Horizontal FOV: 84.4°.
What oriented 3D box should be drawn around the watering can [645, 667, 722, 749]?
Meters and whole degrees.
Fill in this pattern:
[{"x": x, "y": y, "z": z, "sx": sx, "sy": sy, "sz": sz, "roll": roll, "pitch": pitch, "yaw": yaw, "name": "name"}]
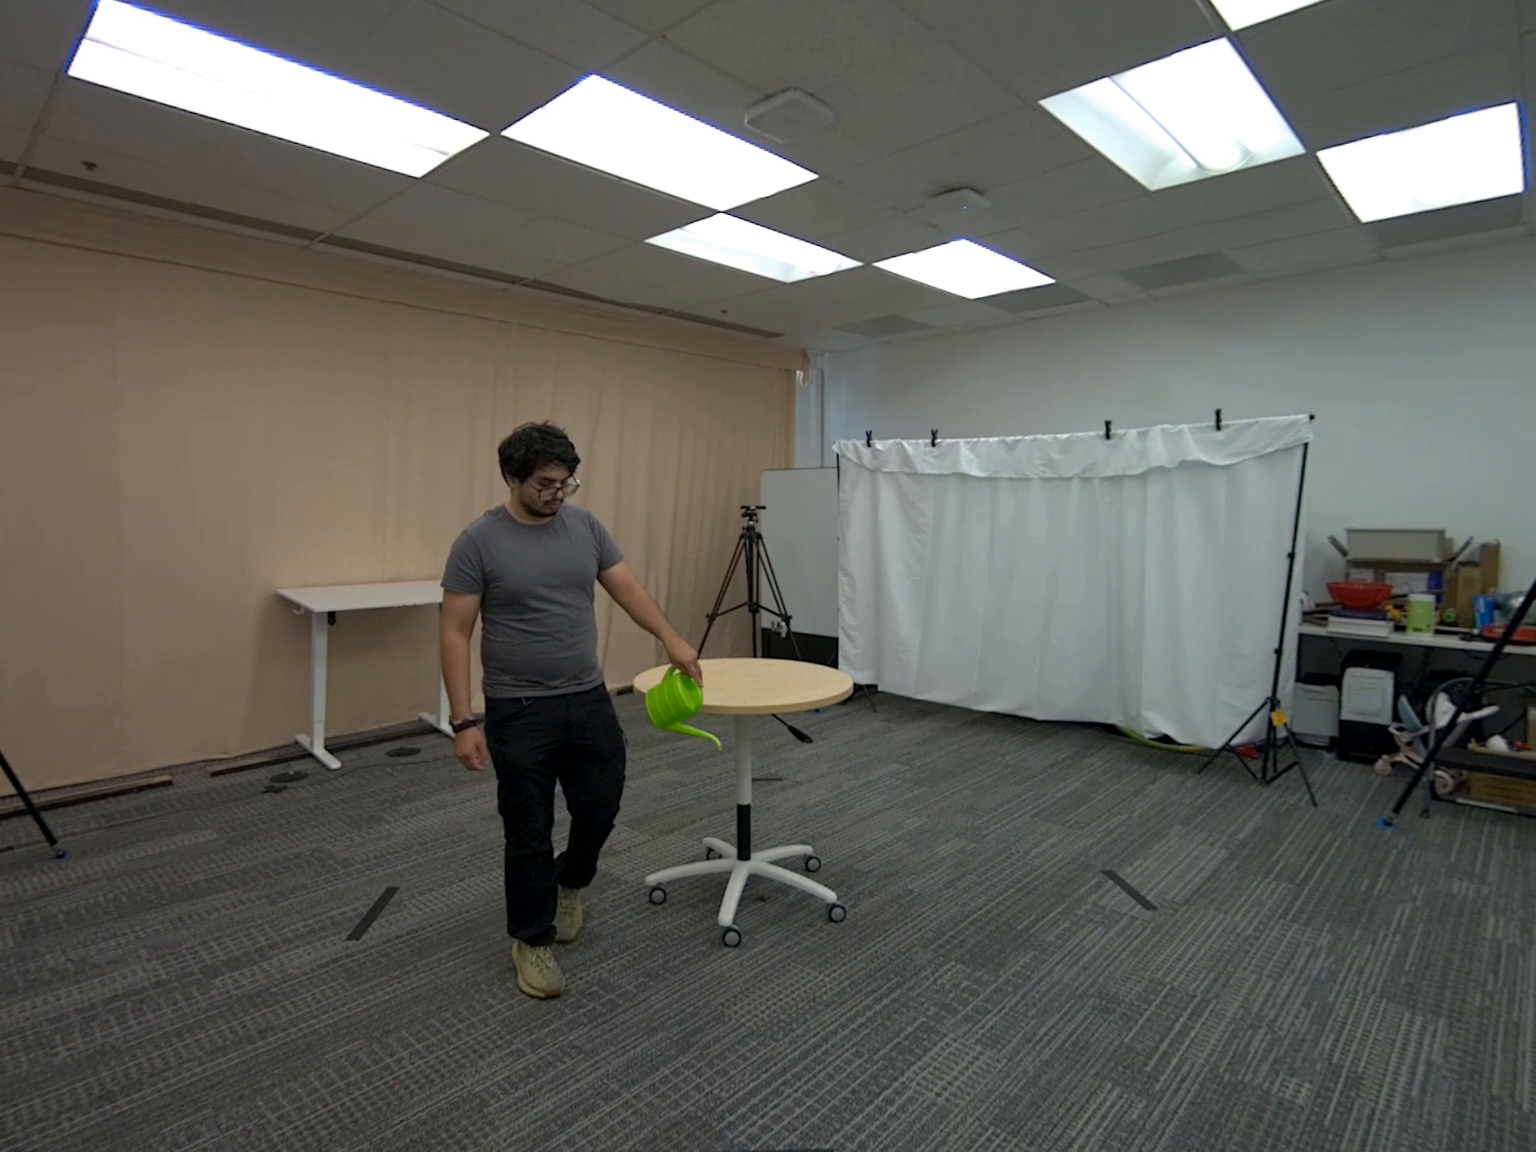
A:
[{"x": -0.250, "y": 0.389, "z": 2.376, "sx": 0.179, "sy": 0.285, "sz": 0.094, "roll": -33, "pitch": -39, "yaw": 26, "name": "watering can"}]
